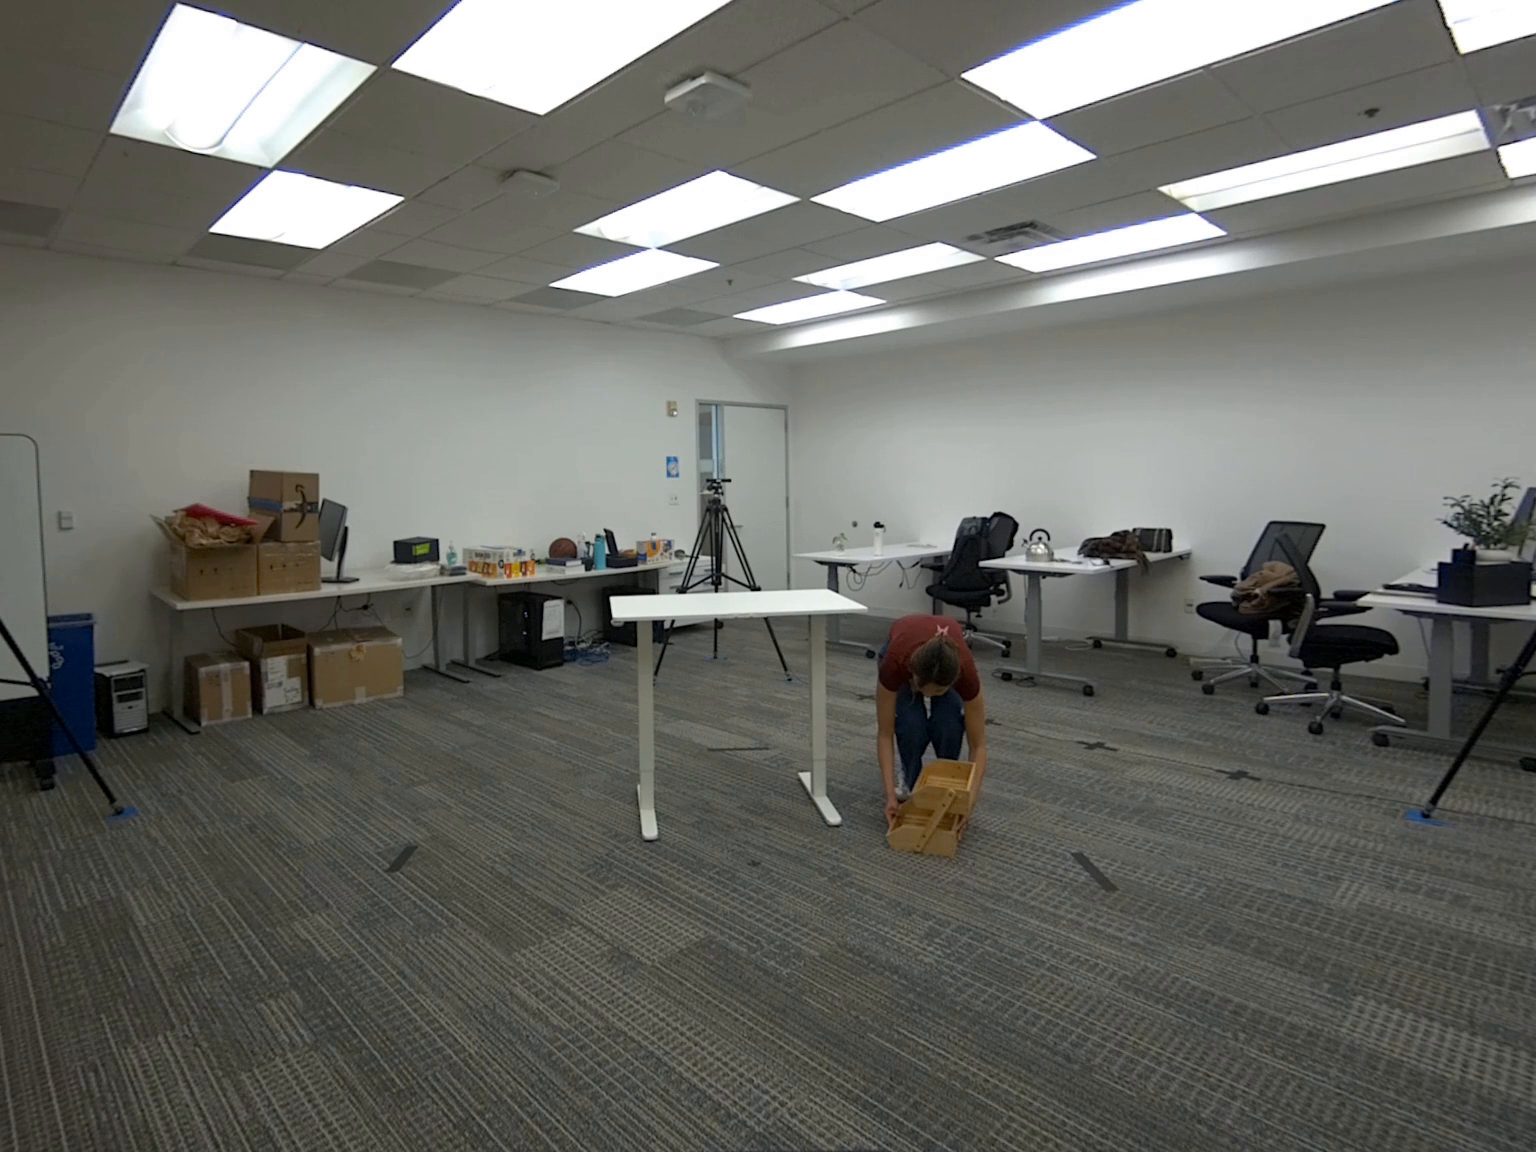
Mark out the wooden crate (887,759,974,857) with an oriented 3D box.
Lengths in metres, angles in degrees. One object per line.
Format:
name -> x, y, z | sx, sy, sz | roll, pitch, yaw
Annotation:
wooden crate -> 0.632, 0.879, 3.288 | 0.308, 0.272, 0.320 | 1, 6, 19
